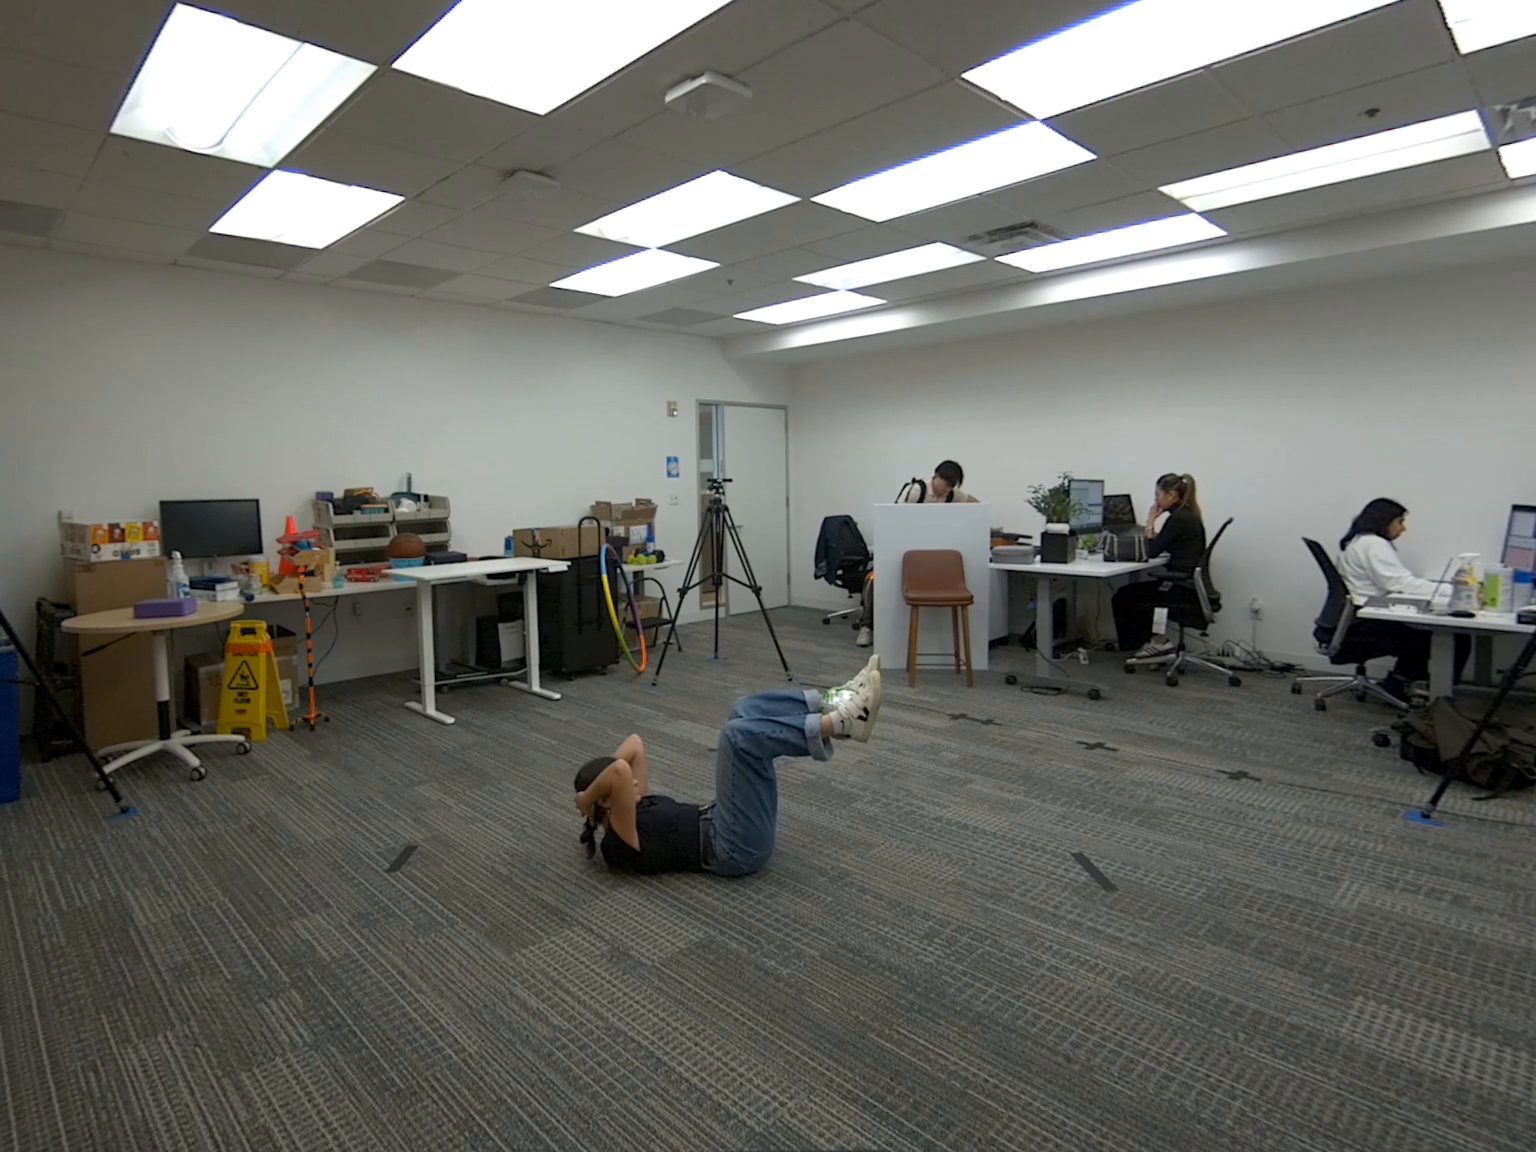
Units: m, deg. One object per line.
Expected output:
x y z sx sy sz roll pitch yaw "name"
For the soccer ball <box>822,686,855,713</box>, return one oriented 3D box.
0.280 0.494 3.053 0.187 0.187 0.188 0 1 -2 "soccer ball"
